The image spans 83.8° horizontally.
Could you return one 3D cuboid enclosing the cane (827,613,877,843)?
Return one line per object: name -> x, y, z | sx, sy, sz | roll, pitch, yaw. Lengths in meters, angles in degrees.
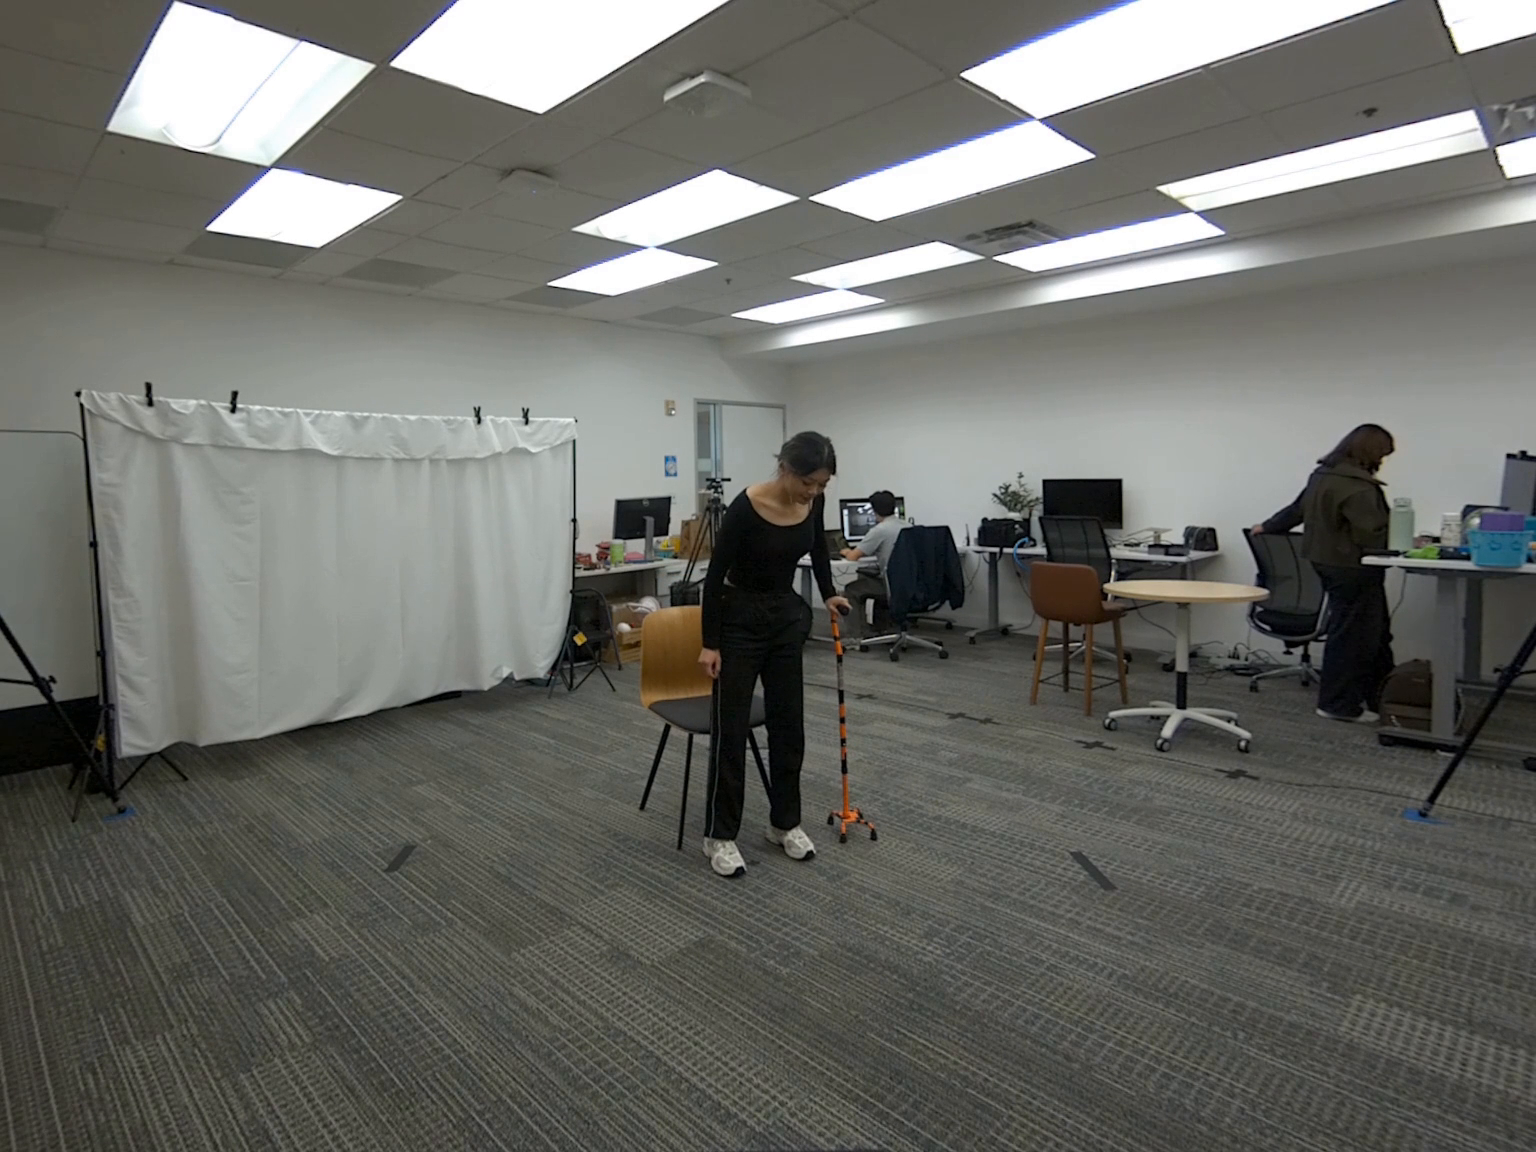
cane -> 0.312, 0.556, 3.327 | 0.150, 0.903, 0.209 | -3, 5, -10
